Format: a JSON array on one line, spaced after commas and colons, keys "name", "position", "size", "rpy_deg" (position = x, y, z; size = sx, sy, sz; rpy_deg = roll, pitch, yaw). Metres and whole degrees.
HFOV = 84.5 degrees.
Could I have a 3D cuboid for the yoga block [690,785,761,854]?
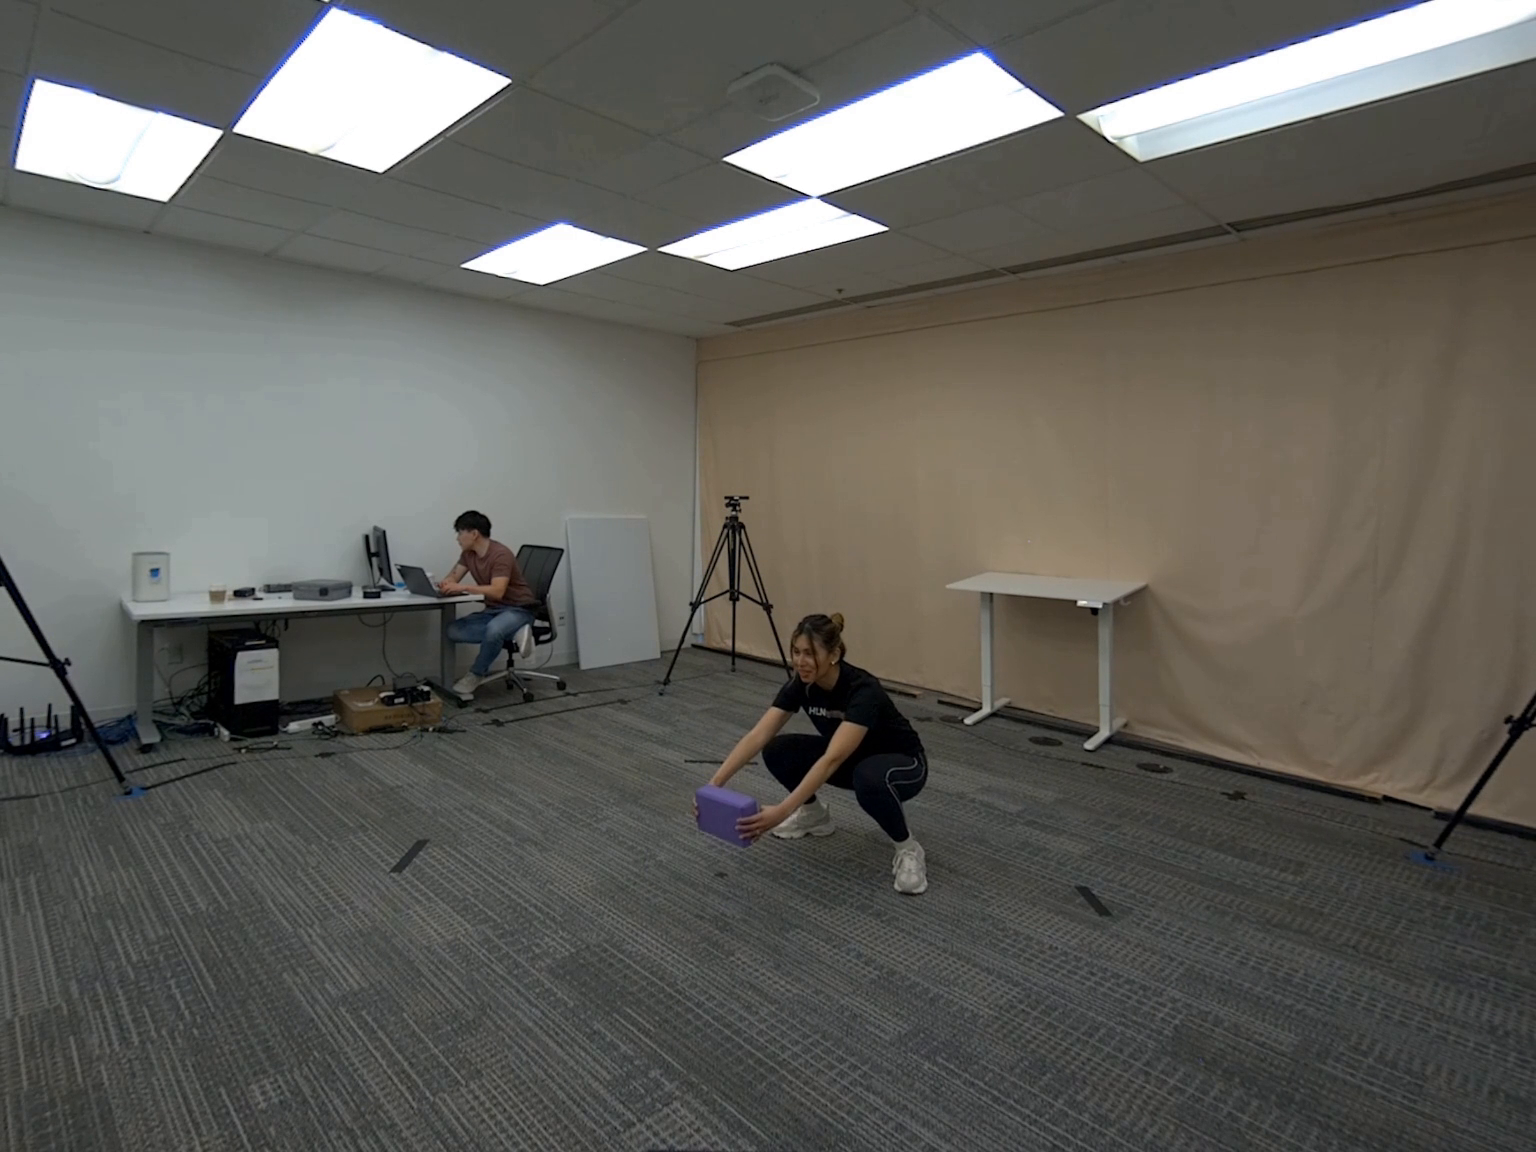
[{"name": "yoga block", "position": [-0.145, 0.809, 2.829], "size": [0.235, 0.148, 0.075], "rpy_deg": [4, 13, 40]}]
